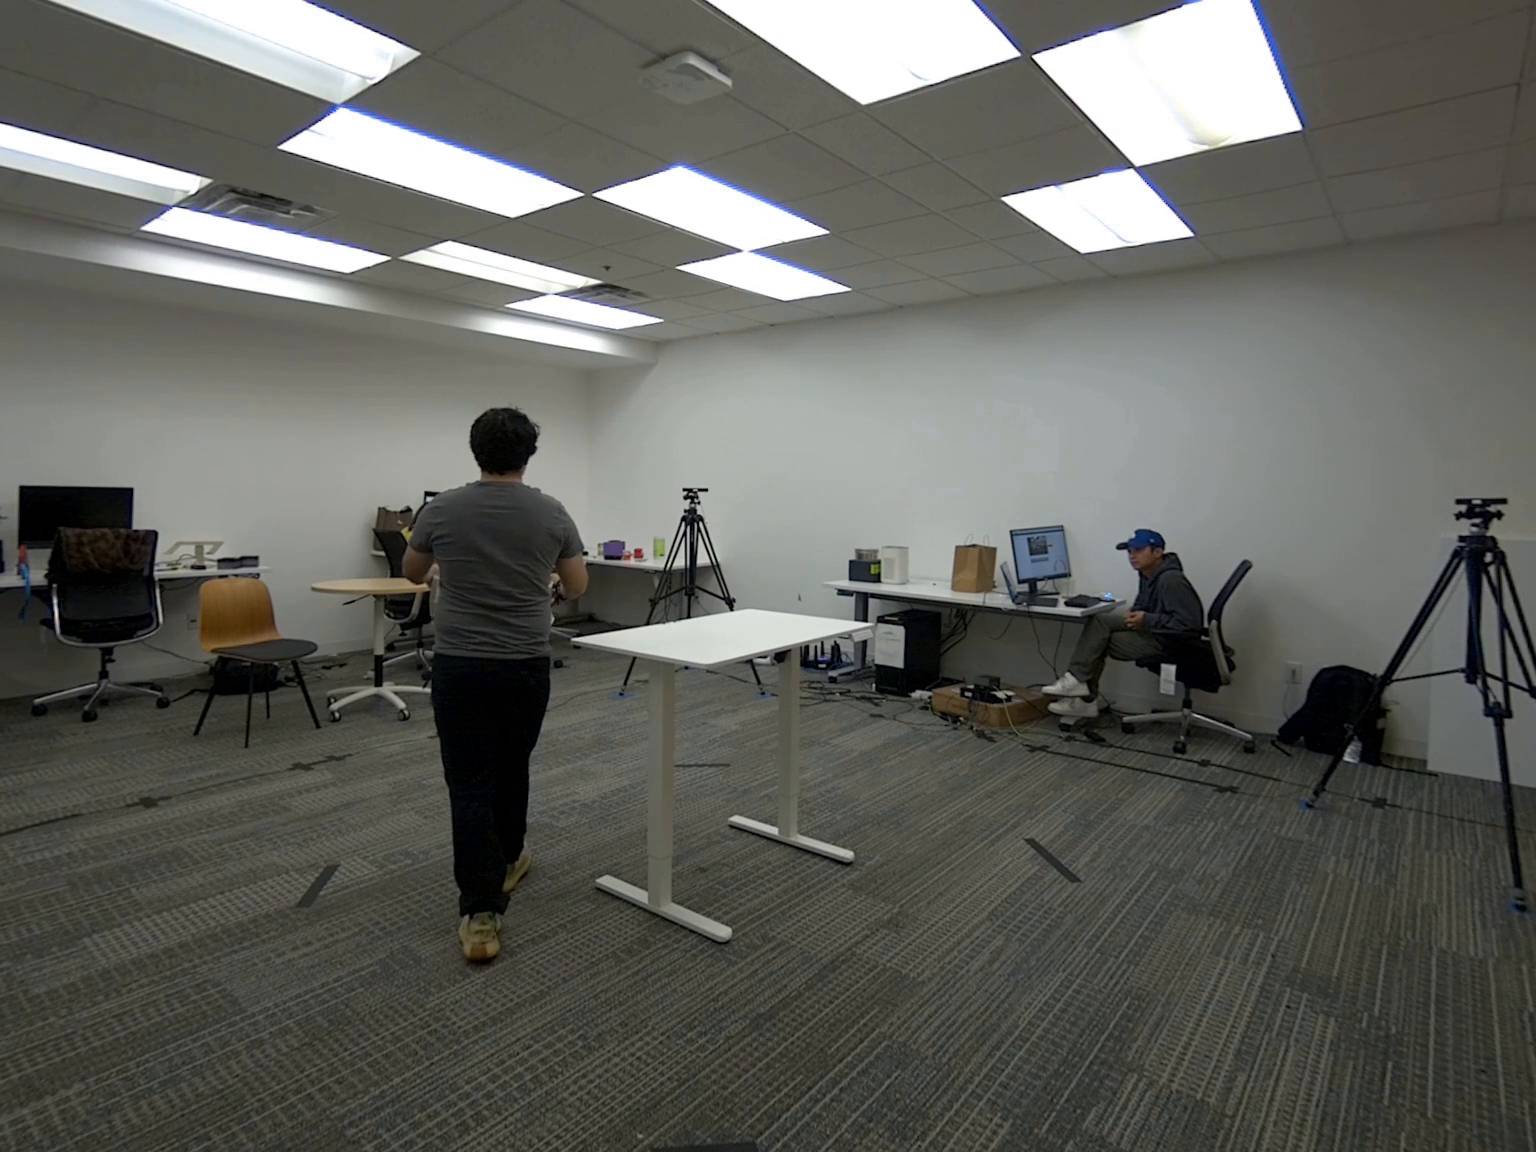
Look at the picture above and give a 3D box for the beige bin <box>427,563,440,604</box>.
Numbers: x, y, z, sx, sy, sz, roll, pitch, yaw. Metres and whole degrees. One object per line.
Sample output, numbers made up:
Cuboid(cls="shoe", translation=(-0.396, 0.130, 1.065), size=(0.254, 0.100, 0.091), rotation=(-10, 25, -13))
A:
Cuboid(cls="beige bin", translation=(-1.022, 0.077, 3.190), size=(0.418, 0.188, 0.382), rotation=(3, 3, -9))
